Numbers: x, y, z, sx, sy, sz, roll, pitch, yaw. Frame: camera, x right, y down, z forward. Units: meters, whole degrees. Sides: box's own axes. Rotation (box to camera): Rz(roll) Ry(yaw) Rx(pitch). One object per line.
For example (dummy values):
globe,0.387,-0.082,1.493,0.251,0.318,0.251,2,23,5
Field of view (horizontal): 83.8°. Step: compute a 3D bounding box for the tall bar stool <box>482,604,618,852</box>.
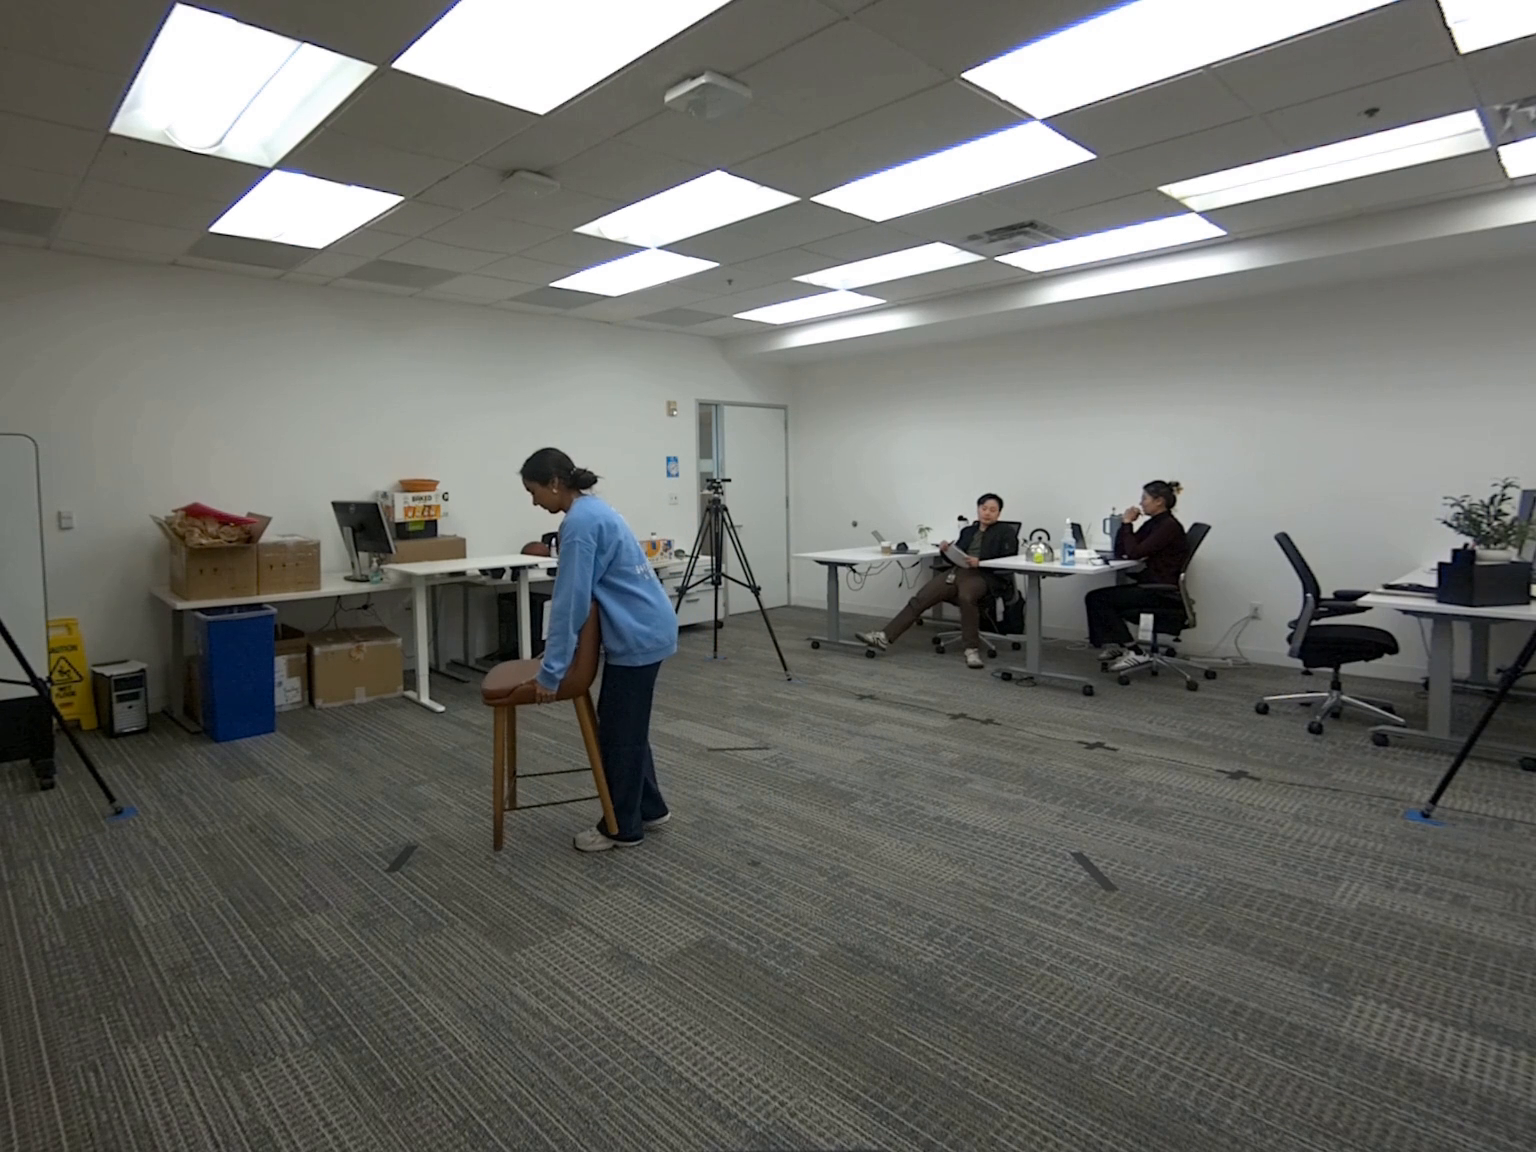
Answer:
tall bar stool,-0.848,0.525,3.278,0.465,0.885,0.462,-4,5,-7
